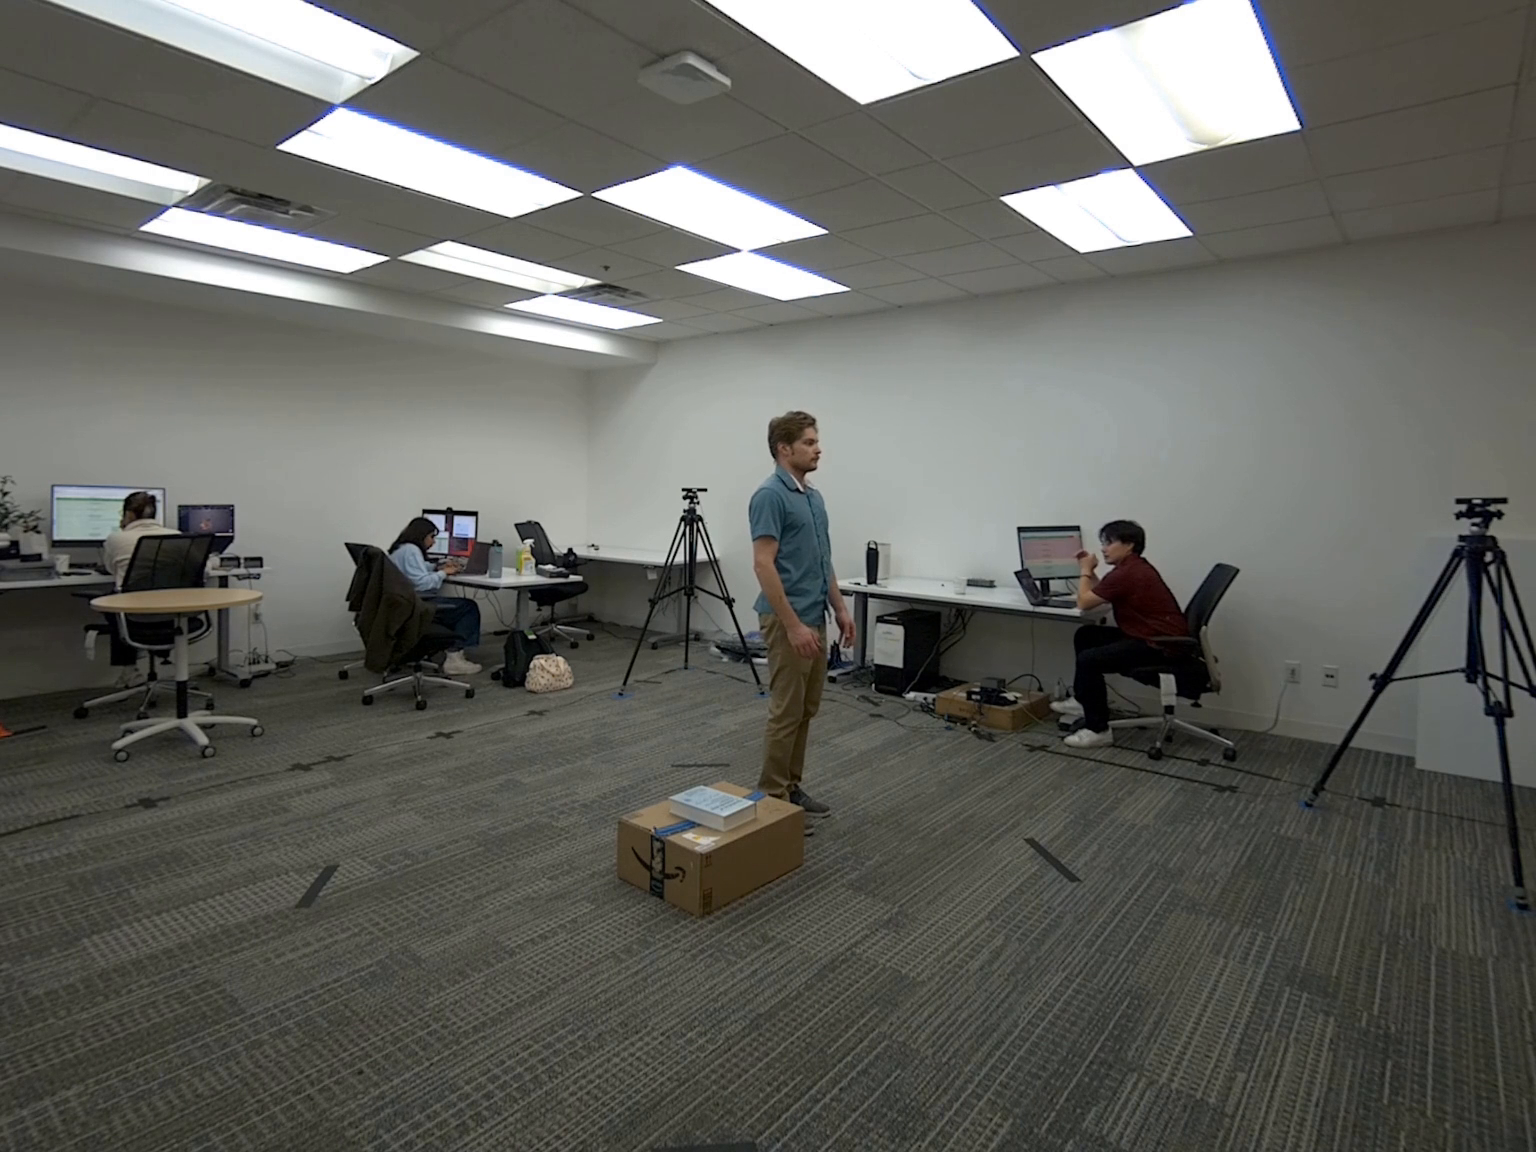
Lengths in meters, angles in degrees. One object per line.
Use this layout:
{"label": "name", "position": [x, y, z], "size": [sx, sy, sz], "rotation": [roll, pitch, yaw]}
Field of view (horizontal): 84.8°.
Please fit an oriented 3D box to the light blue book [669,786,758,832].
{"label": "light blue book", "position": [-0.209, 0.829, 3.077], "size": [0.270, 0.059, 0.186], "rotation": [5, 7, 37]}
